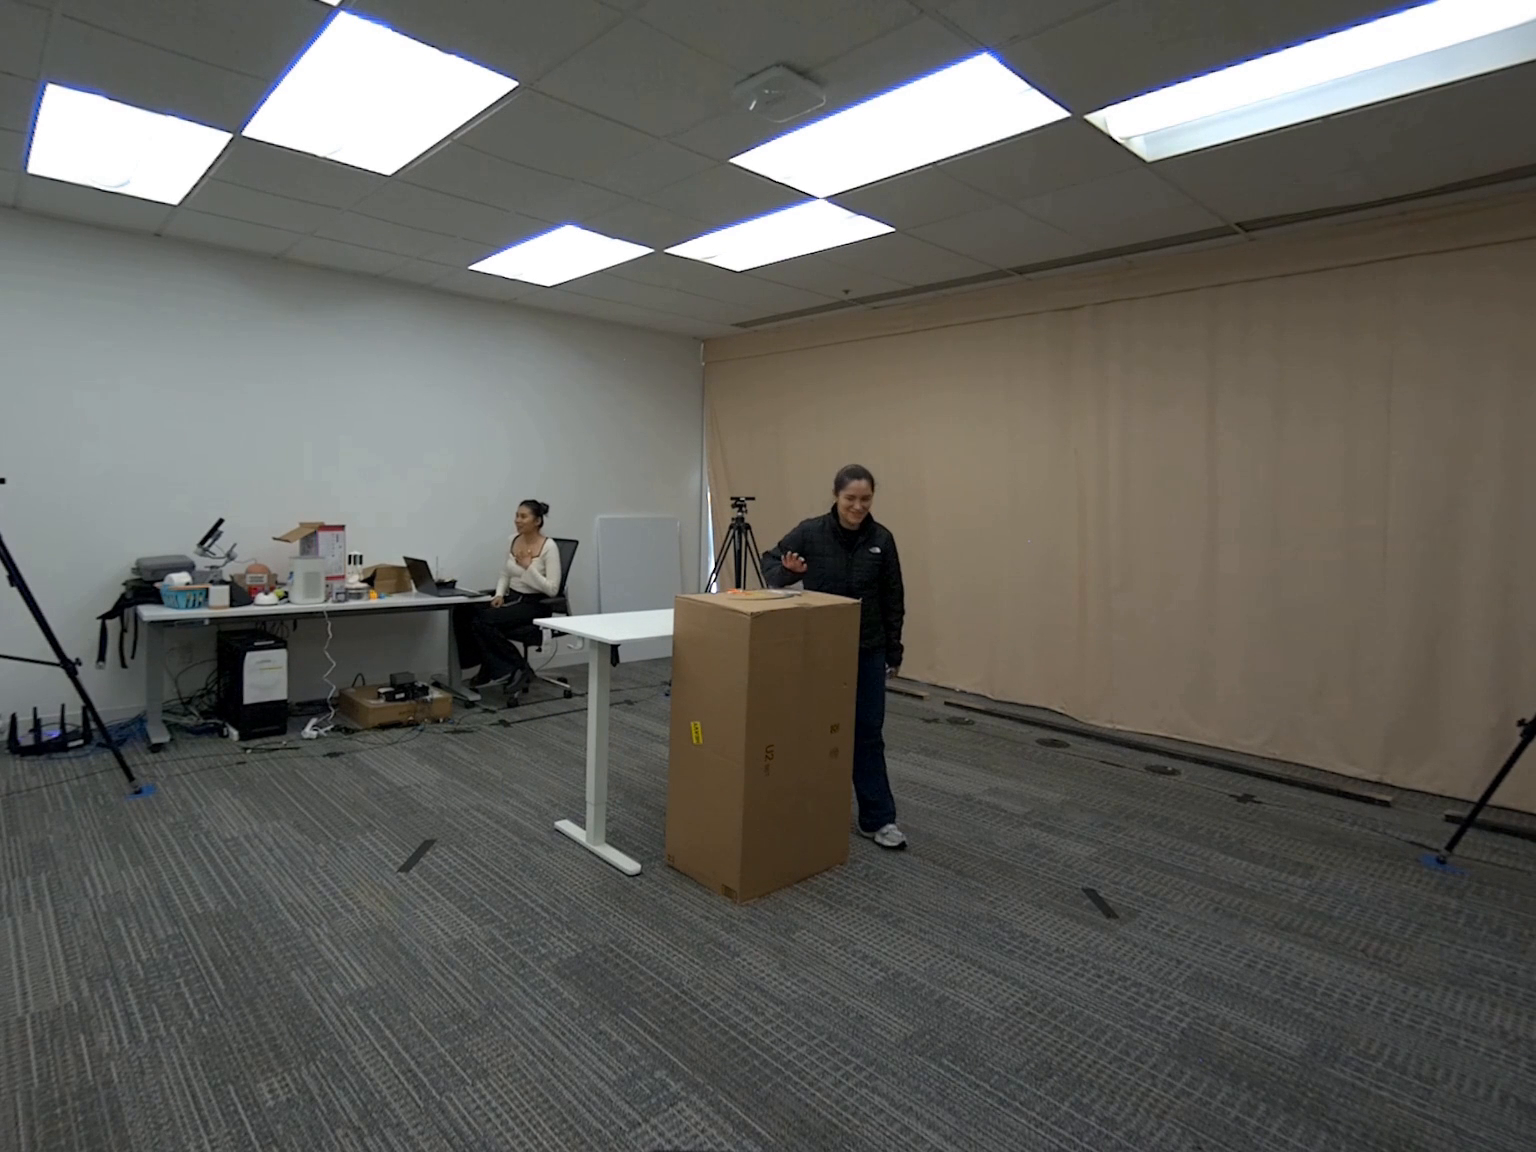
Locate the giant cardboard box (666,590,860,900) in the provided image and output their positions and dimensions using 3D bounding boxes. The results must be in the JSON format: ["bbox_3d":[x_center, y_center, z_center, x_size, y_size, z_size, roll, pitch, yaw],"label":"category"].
[{"bbox_3d":[-0.024,0.588,3.163,0.571,1.023,0.458,-2,6,-41],"label":"giant cardboard box"}]
